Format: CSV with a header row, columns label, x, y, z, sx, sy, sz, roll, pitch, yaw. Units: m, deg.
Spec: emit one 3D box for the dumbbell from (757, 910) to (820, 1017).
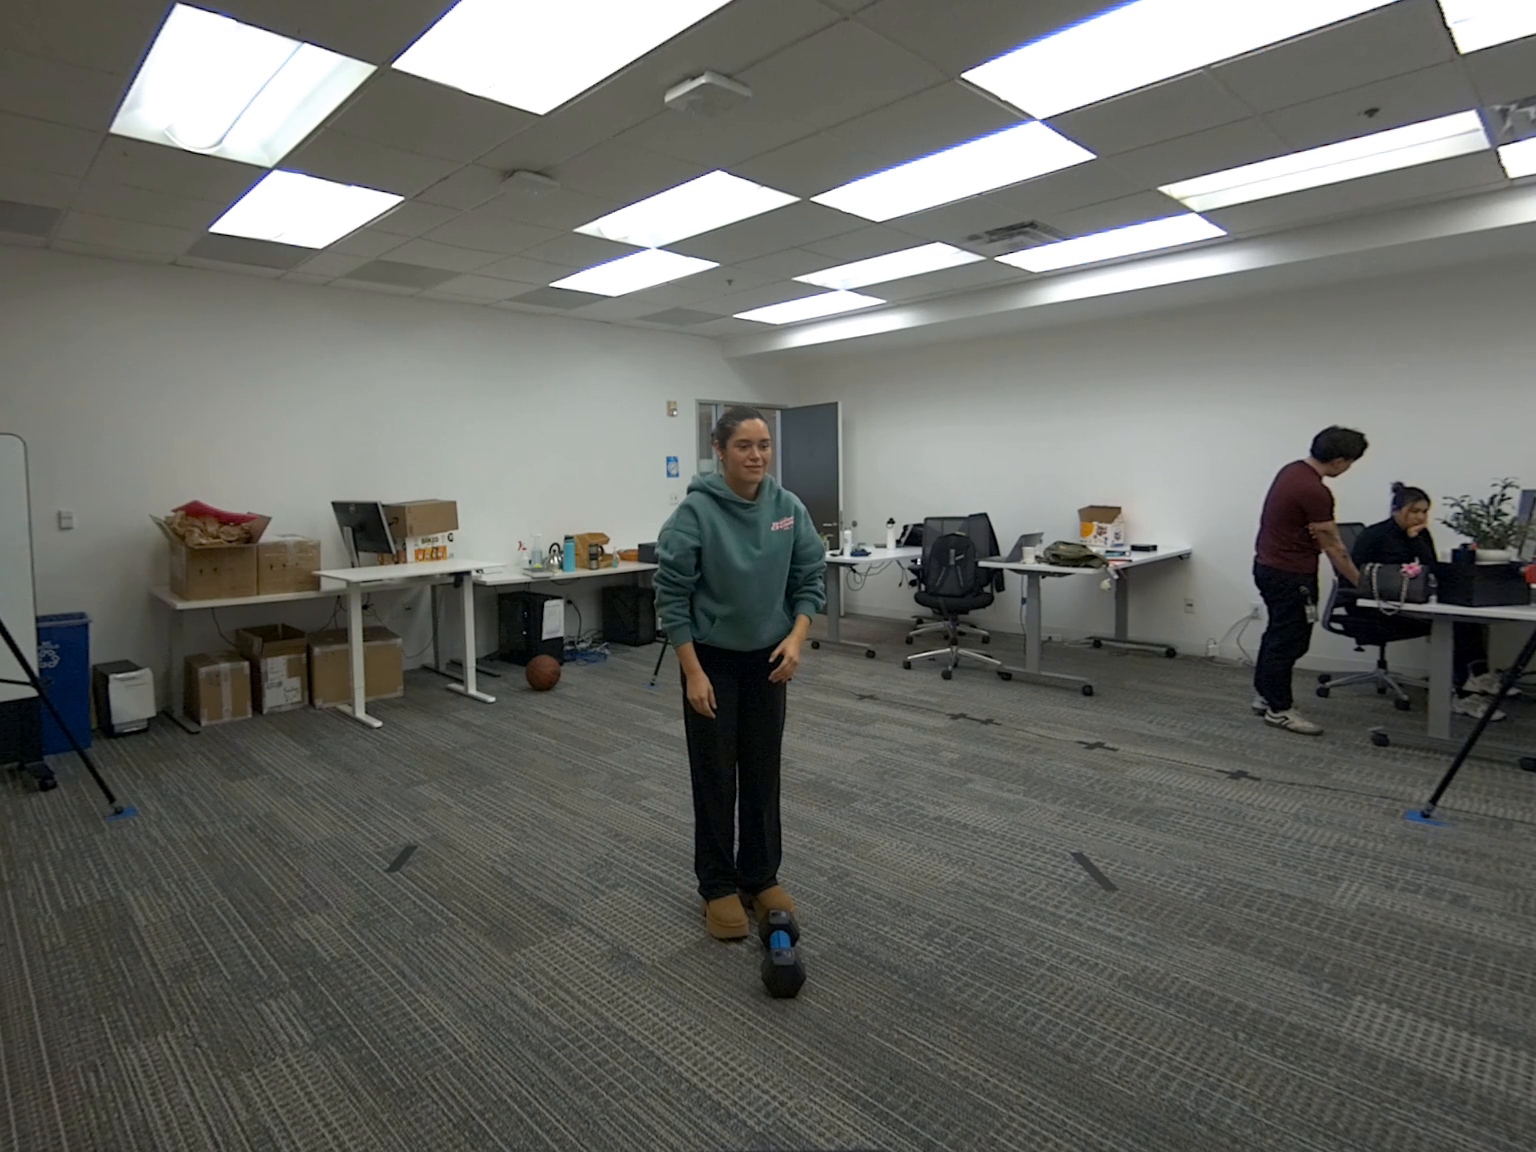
label,x,y,z,sx,sy,sz,roll,pitch,yaw
dumbbell,0.051,1.077,2.430,0.108,0.123,0.295,28,5,-5
